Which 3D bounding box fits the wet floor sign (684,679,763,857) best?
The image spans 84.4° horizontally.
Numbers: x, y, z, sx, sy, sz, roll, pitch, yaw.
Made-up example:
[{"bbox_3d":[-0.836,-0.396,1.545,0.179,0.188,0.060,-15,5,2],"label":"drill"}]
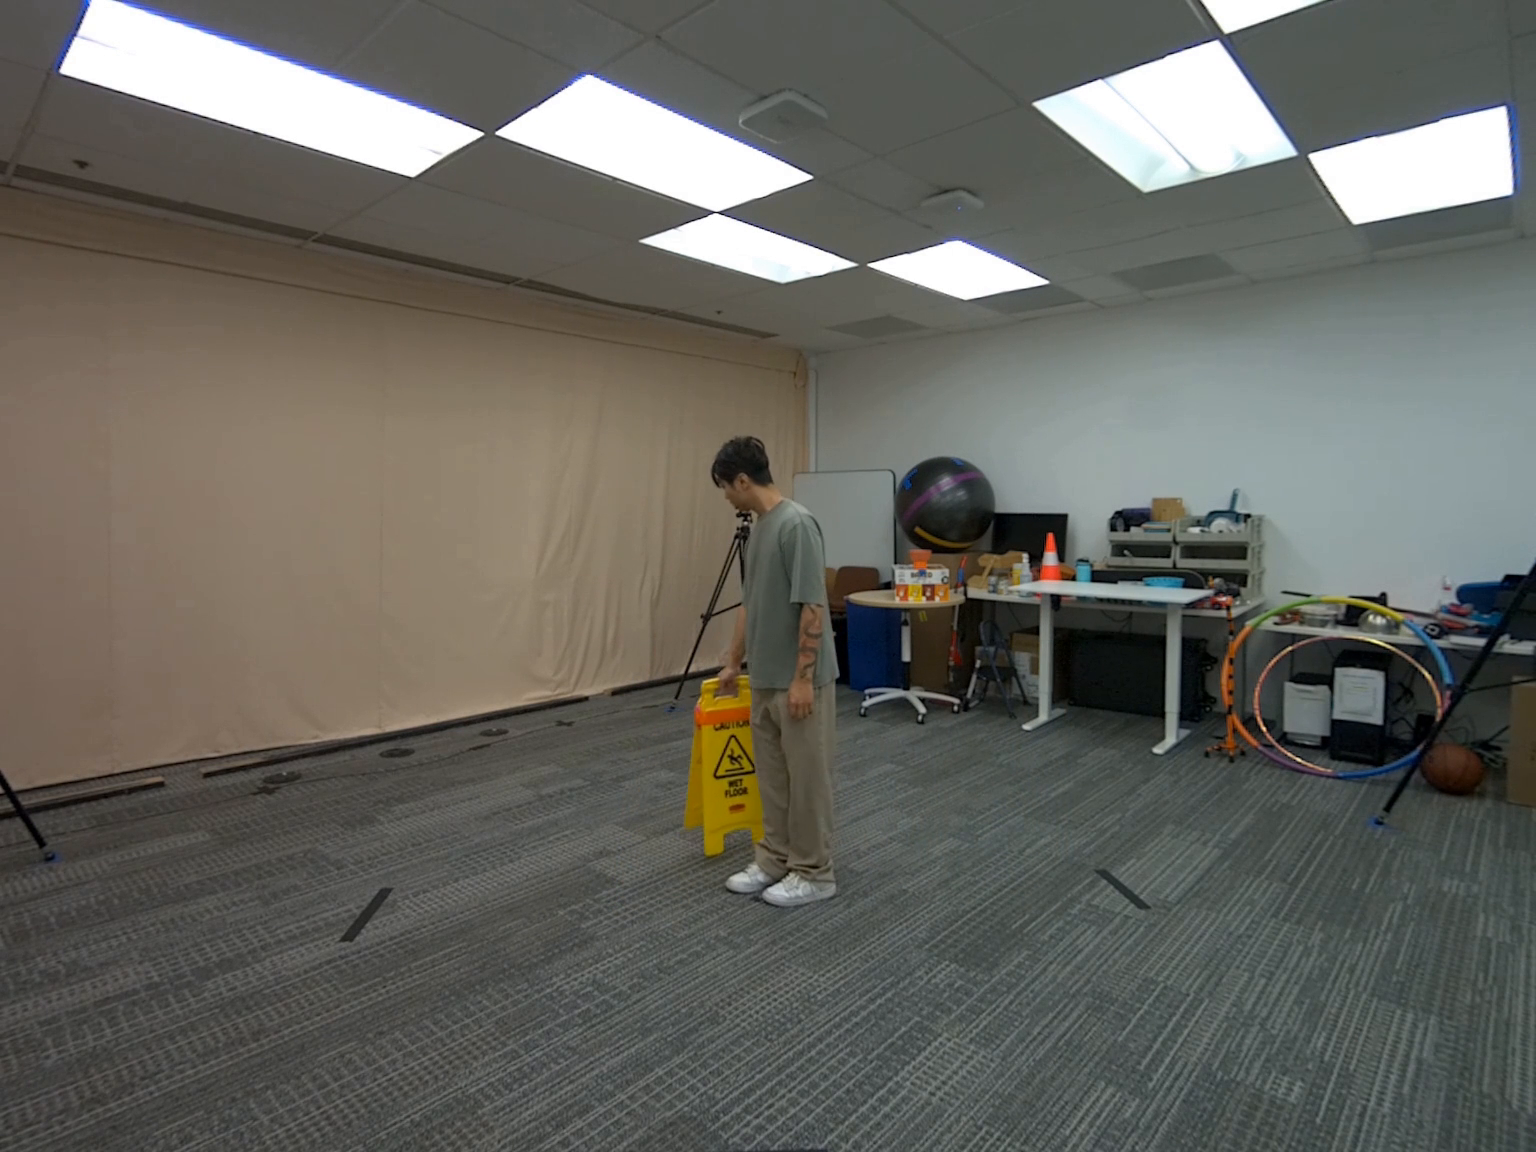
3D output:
[{"bbox_3d":[-0.154,0.718,3.304,0.276,0.642,0.297,-4,9,-22],"label":"wet floor sign"}]
